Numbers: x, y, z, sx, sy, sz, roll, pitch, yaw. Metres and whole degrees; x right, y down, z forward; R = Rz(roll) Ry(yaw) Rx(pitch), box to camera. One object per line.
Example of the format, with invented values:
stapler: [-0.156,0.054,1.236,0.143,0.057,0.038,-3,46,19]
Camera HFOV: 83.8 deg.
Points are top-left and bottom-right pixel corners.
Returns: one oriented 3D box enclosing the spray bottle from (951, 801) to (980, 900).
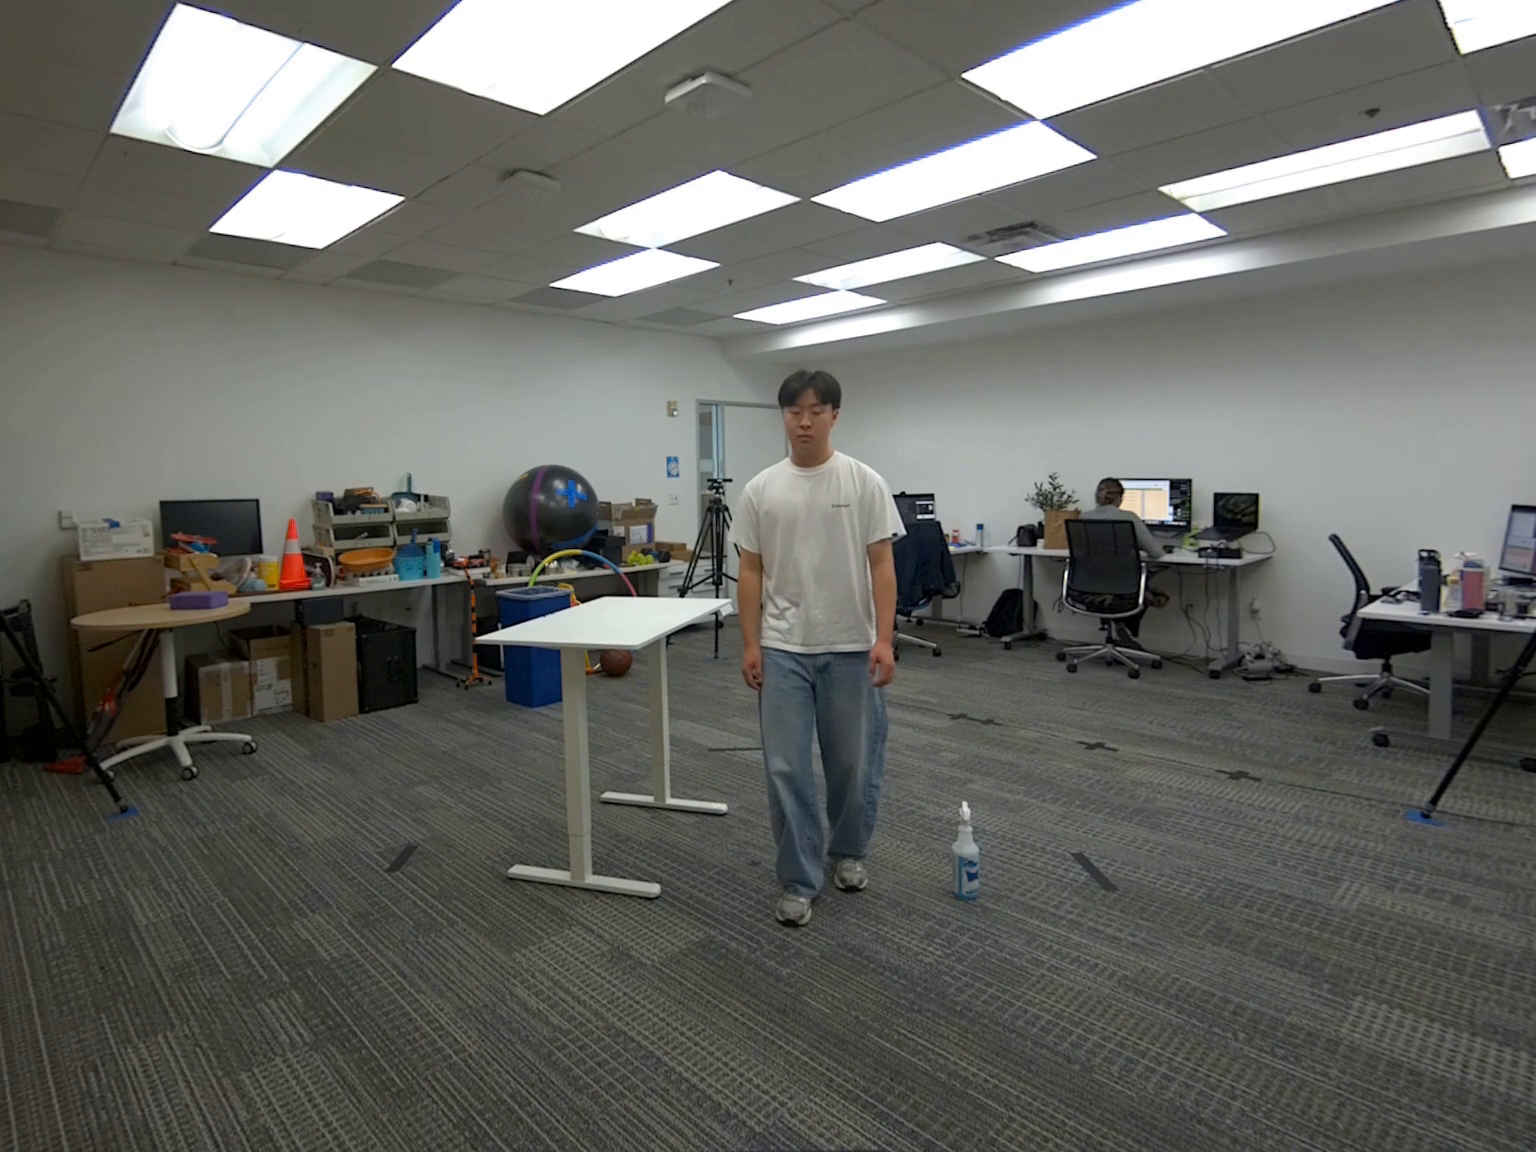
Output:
spray bottle: [0.648,0.917,2.850,0.089,0.297,0.088,-1,2,35]
